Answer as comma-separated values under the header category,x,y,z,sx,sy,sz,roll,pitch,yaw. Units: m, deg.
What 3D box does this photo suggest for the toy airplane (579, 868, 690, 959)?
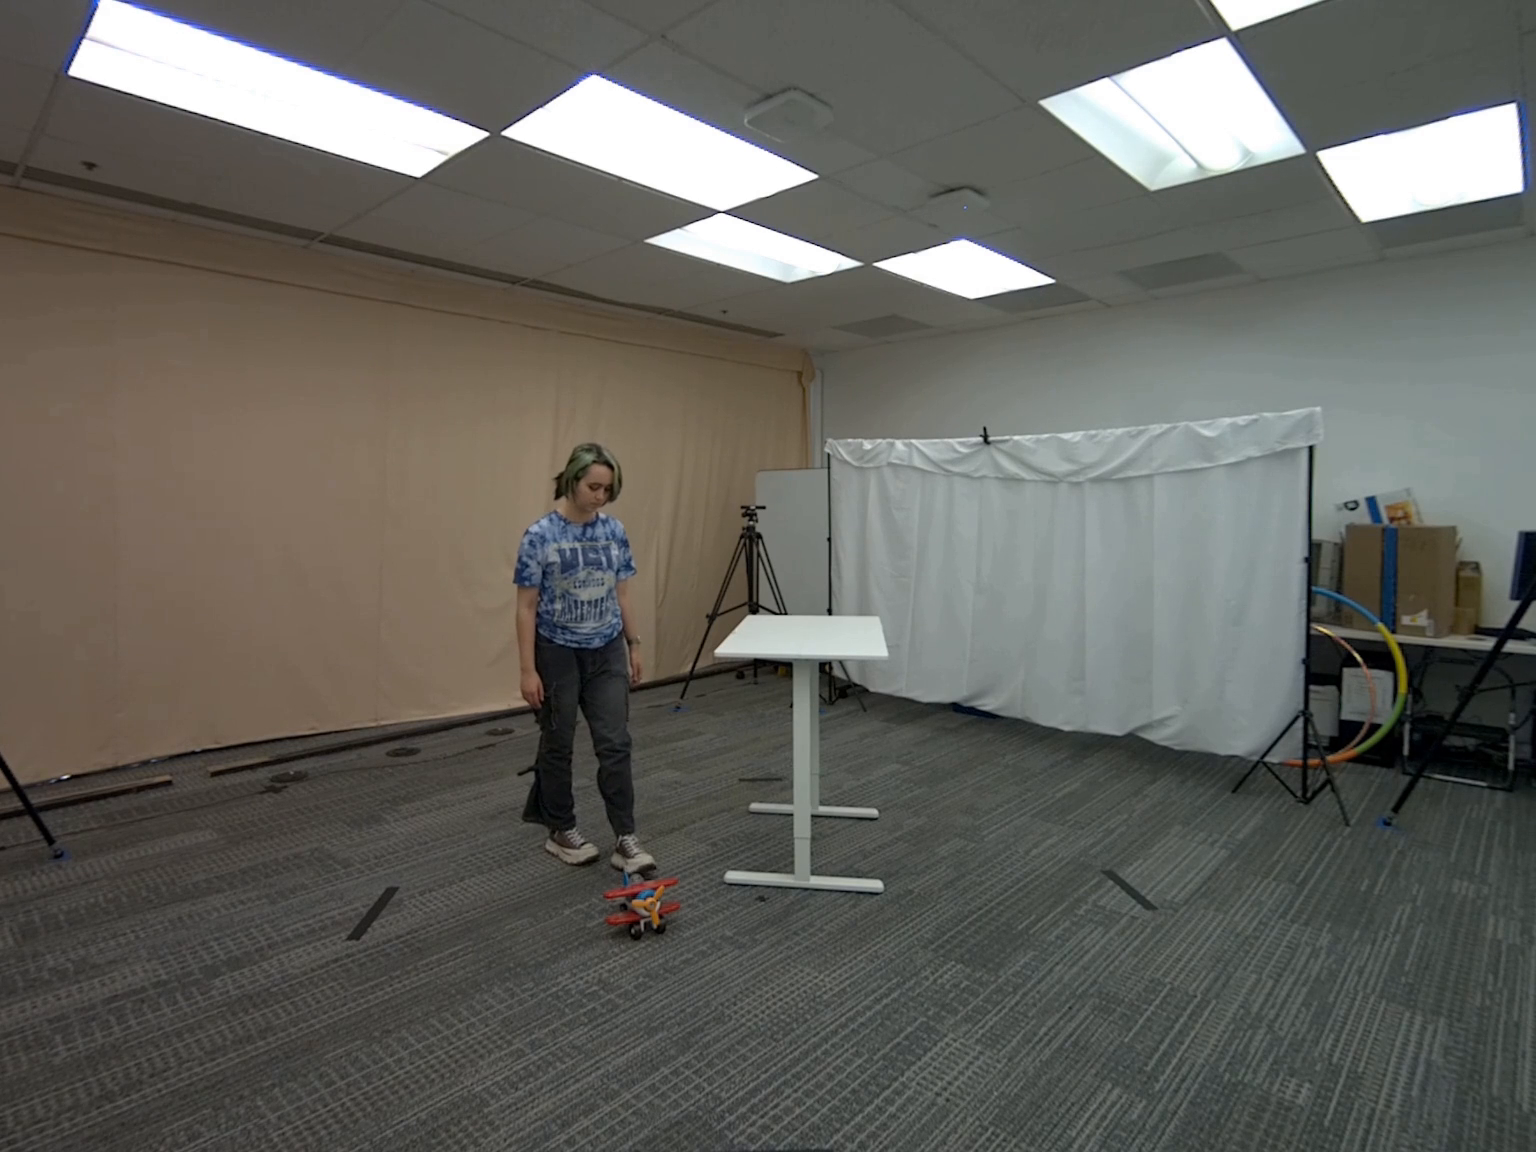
category,x,y,z,sx,sy,sz,roll,pitch,yaw
toy airplane,-0.441,1.087,2.791,0.267,0.156,0.244,4,6,33
